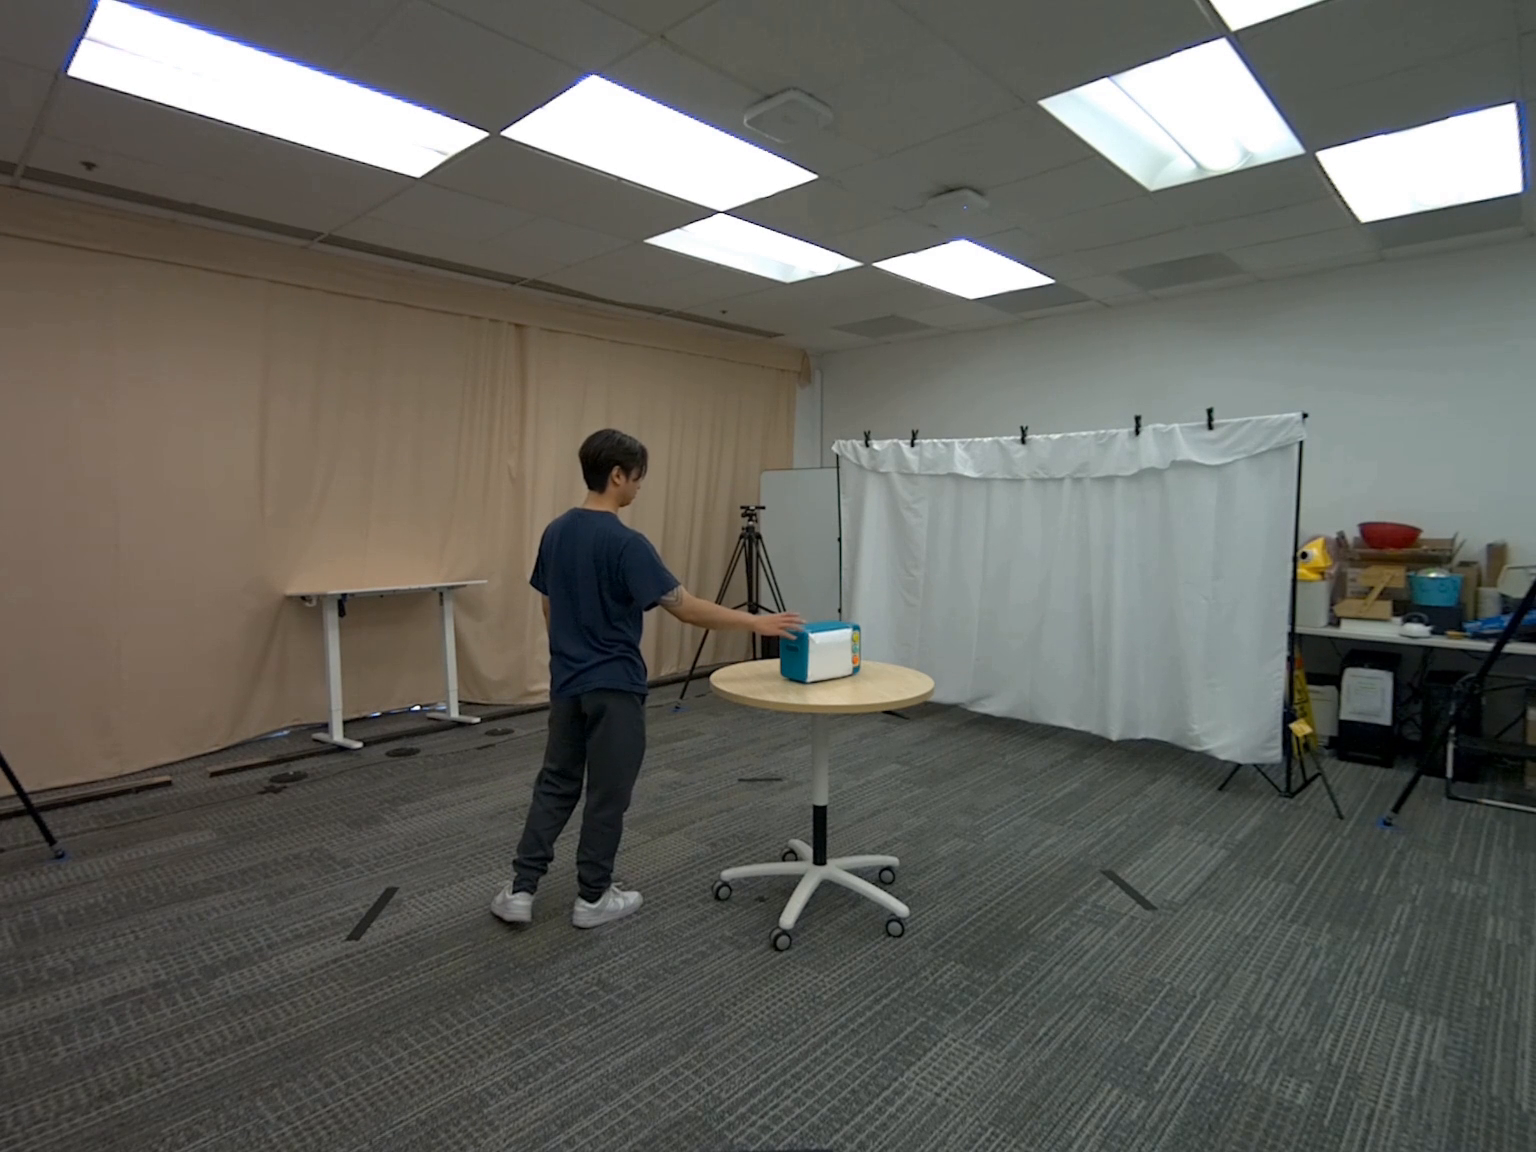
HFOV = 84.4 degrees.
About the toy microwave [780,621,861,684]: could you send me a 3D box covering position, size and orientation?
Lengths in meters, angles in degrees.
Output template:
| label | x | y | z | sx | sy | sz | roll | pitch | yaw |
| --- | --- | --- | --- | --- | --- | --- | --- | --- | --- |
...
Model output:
| label | x | y | z | sx | sy | sz | roll | pitch | yaw |
| --- | --- | --- | --- | --- | --- | --- | --- | --- | --- |
| toy microwave | 0.195 | 0.261 | 2.919 | 0.278 | 0.183 | 0.157 | -4 | 5 | -38 |
